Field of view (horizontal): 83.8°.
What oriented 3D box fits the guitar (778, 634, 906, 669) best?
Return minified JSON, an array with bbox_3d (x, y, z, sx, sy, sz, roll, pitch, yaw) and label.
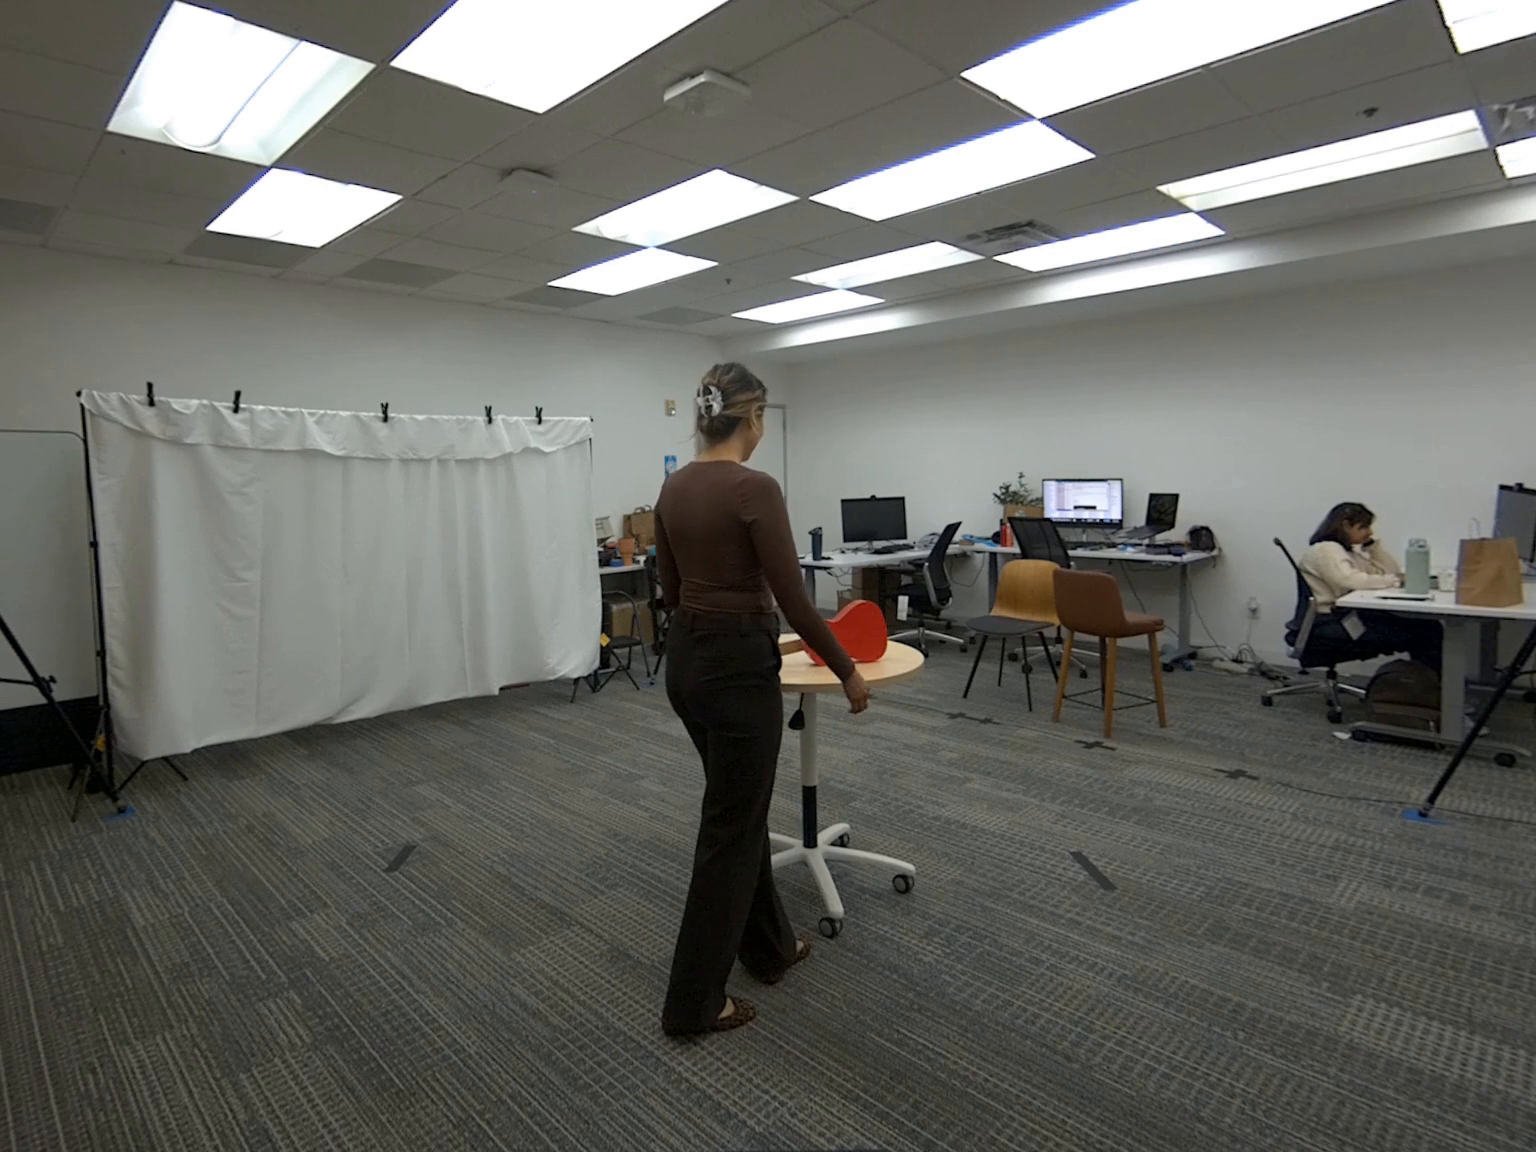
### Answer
[{"bbox_3d":[0.149,0.243,2.733,0.495,0.191,0.072,-21,7,-9],"label":"guitar"}]
